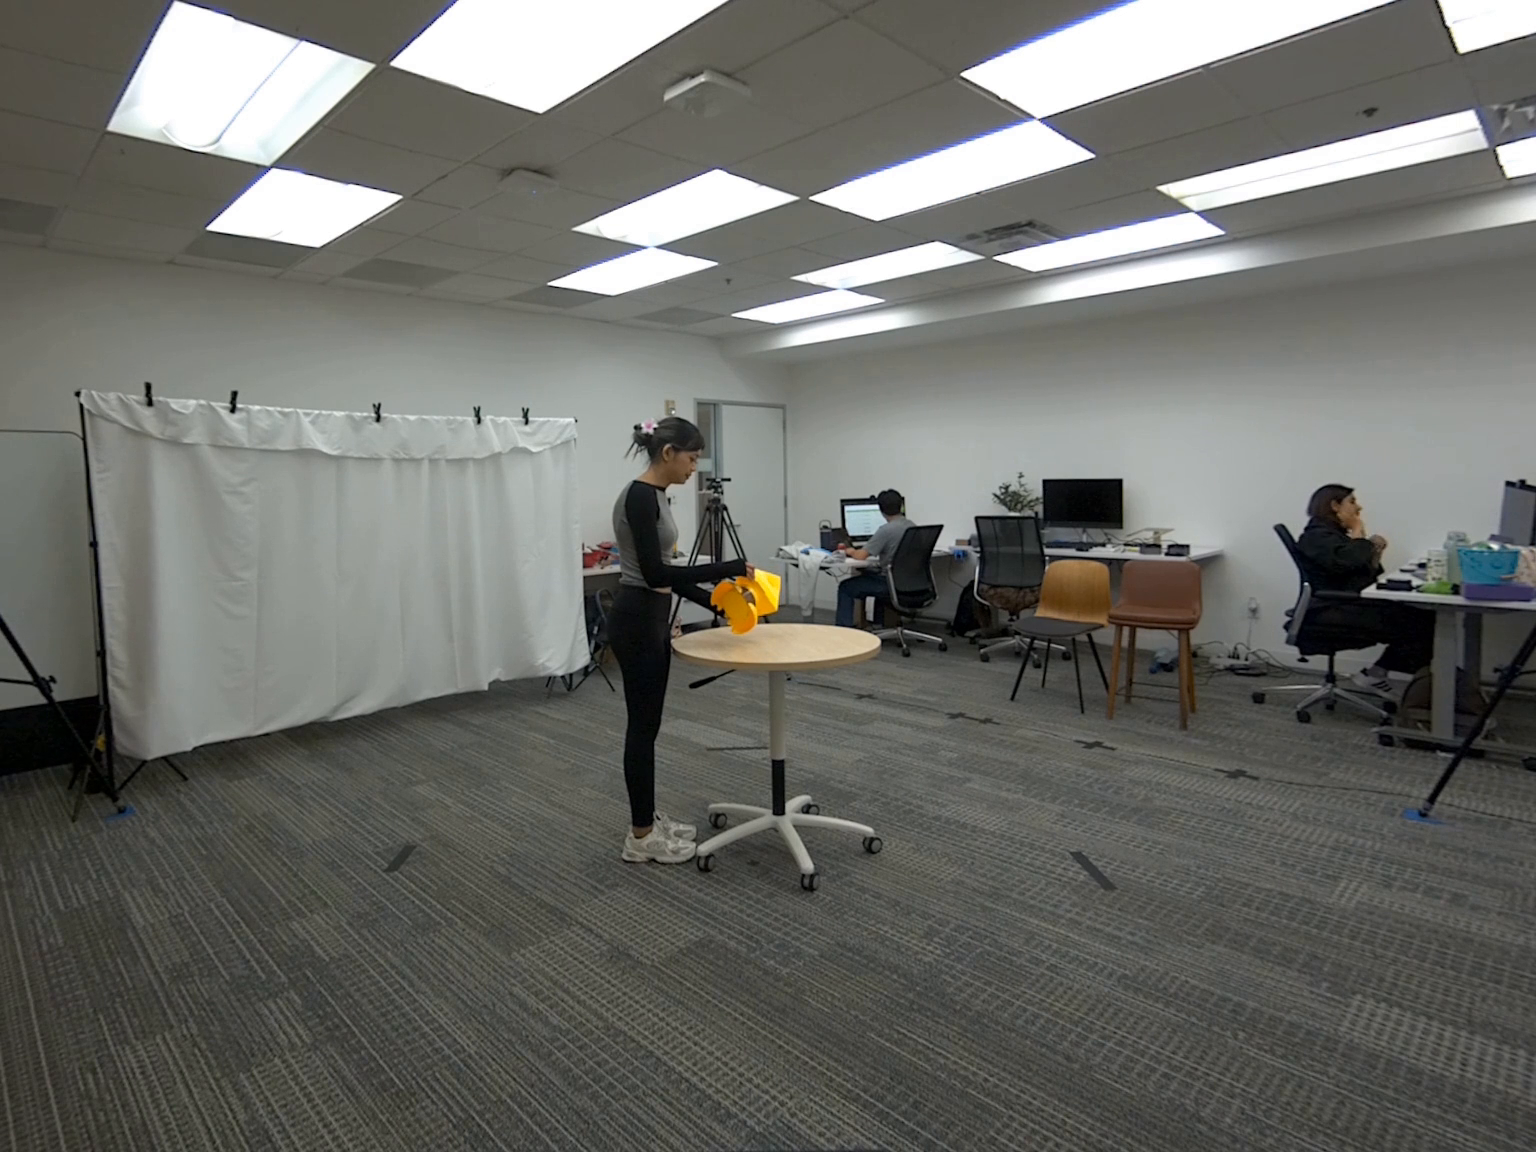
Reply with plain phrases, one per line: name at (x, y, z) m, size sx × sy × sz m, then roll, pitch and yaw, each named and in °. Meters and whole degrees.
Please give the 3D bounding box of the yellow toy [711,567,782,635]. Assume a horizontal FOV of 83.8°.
yellow toy at (-0.051, 0.075, 3.175) m, size 0.228 × 0.207 × 0.193 m, roll -29°, pitch -11°, yaw -45°
